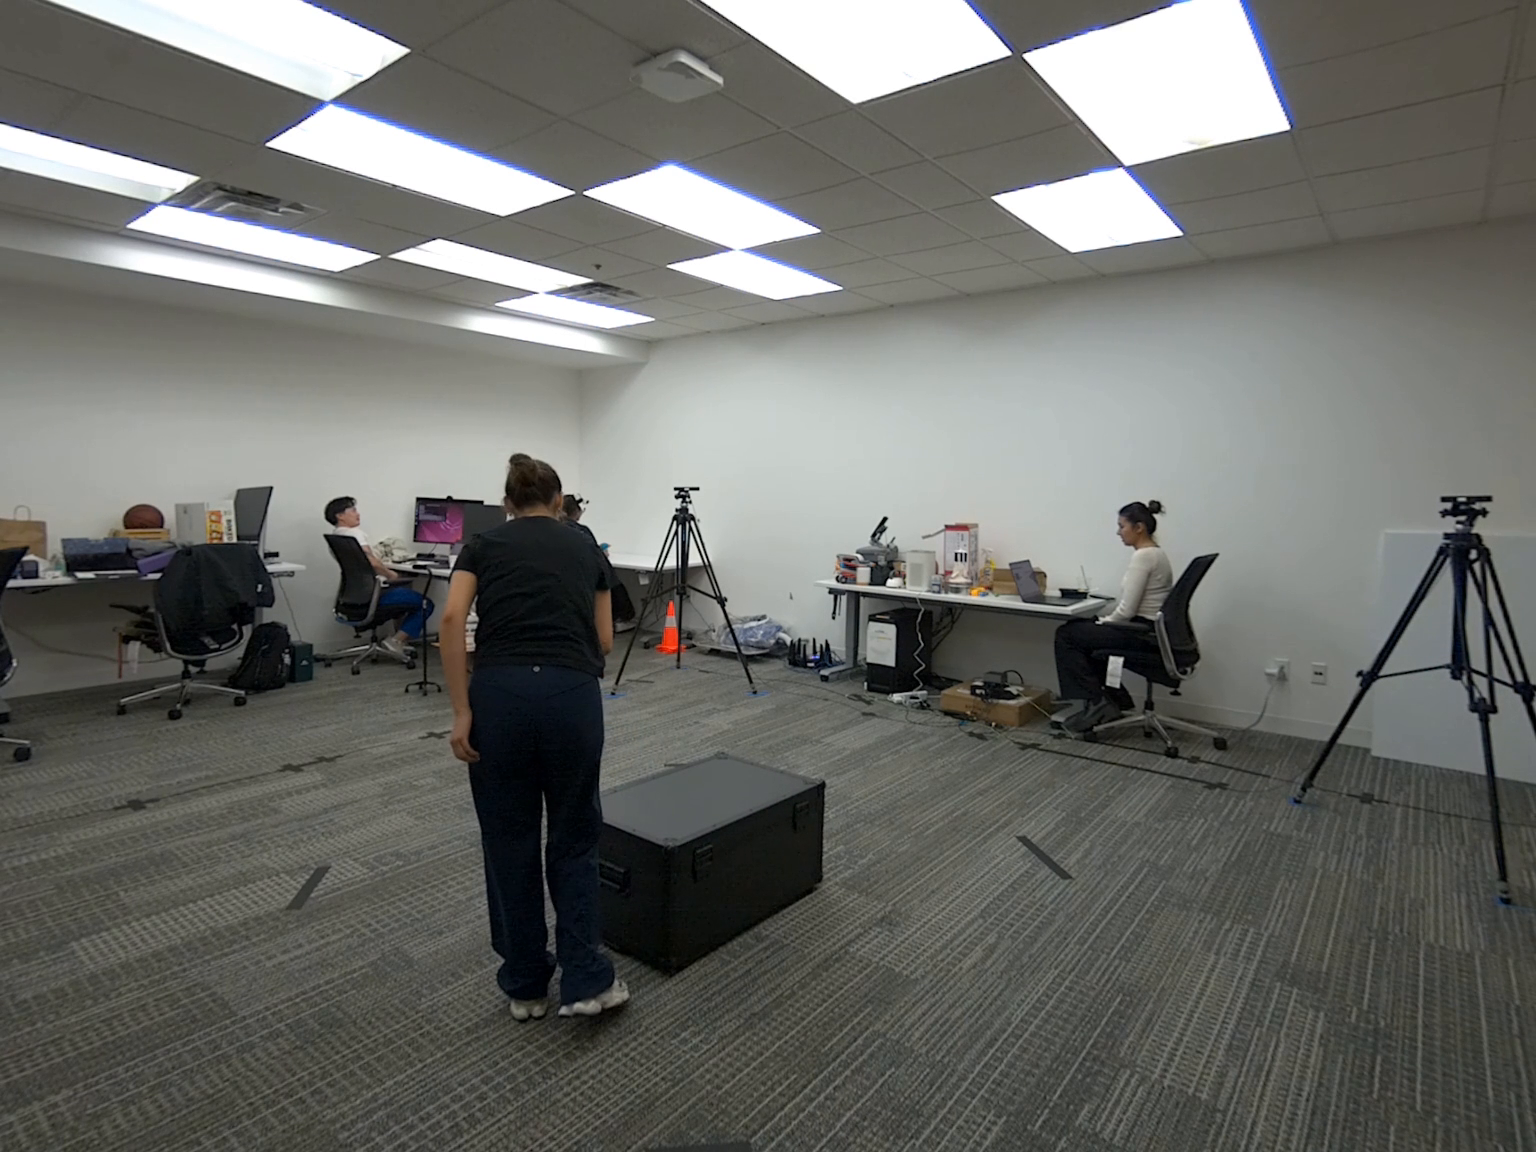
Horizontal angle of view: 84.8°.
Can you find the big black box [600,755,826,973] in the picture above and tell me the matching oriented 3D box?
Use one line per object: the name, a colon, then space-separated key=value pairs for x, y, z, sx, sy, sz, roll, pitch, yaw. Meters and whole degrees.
big black box: x=-0.197 y=0.900 z=2.864 sx=0.539 sy=0.394 sz=0.837 roll=5 pitch=7 yaw=39
